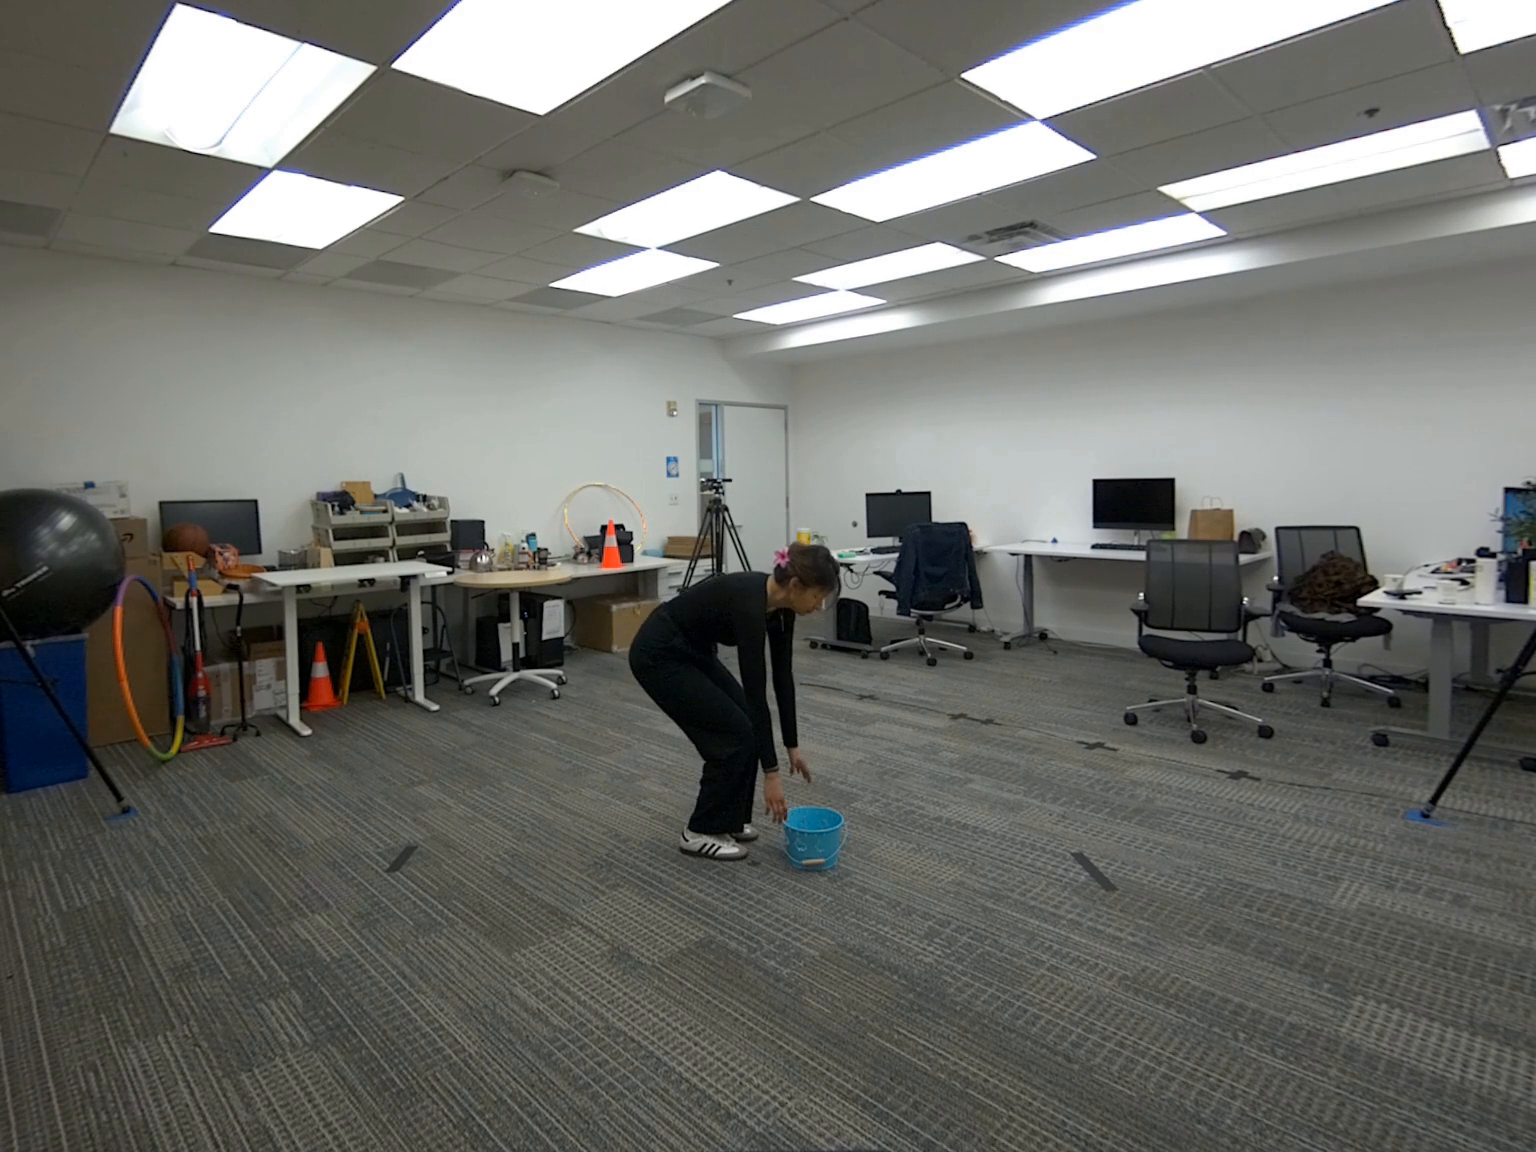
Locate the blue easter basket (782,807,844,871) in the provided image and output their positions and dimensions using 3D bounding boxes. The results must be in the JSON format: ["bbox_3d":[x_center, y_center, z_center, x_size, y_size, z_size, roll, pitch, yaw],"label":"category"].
[{"bbox_3d":[0.159,0.963,3.125,0.243,0.155,0.245,-1,5,-2],"label":"blue easter basket"}]
